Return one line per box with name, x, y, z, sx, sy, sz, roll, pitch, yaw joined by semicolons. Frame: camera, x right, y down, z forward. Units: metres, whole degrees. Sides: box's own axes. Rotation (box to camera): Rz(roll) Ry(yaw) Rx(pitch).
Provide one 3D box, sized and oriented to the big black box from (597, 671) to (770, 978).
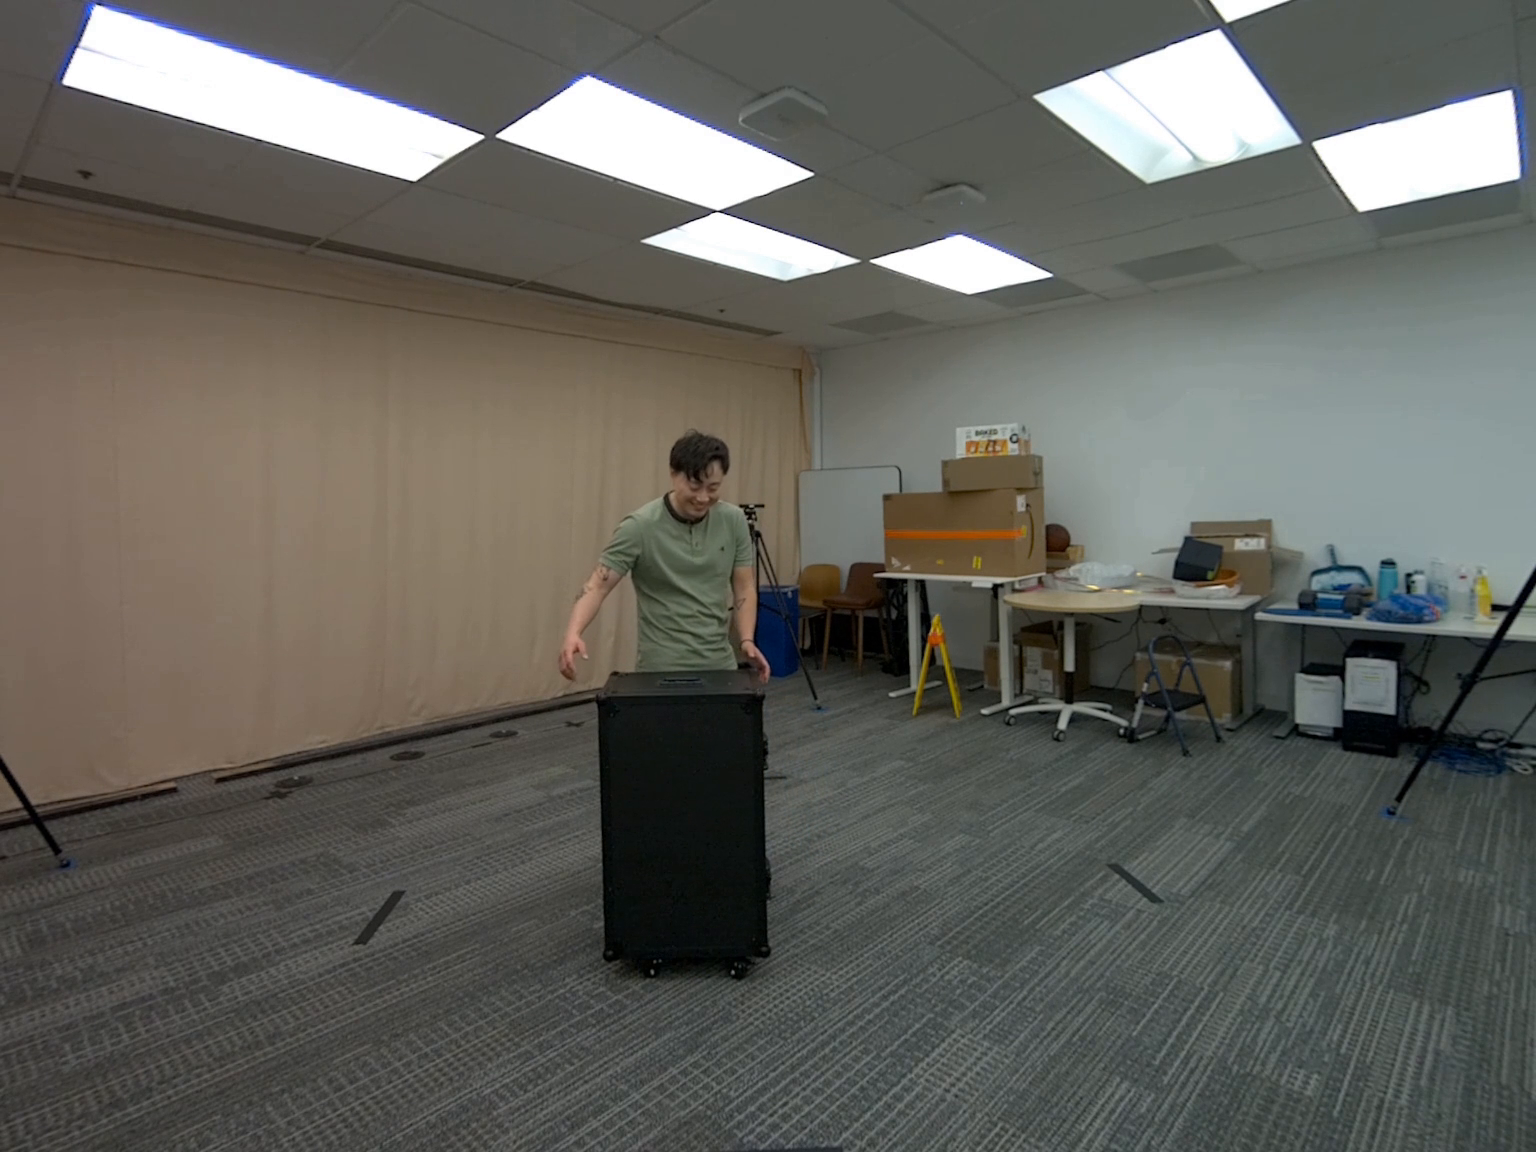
big black box;-0.260;0.750;2.623;0.521;0.860;0.396;-2;2;0
